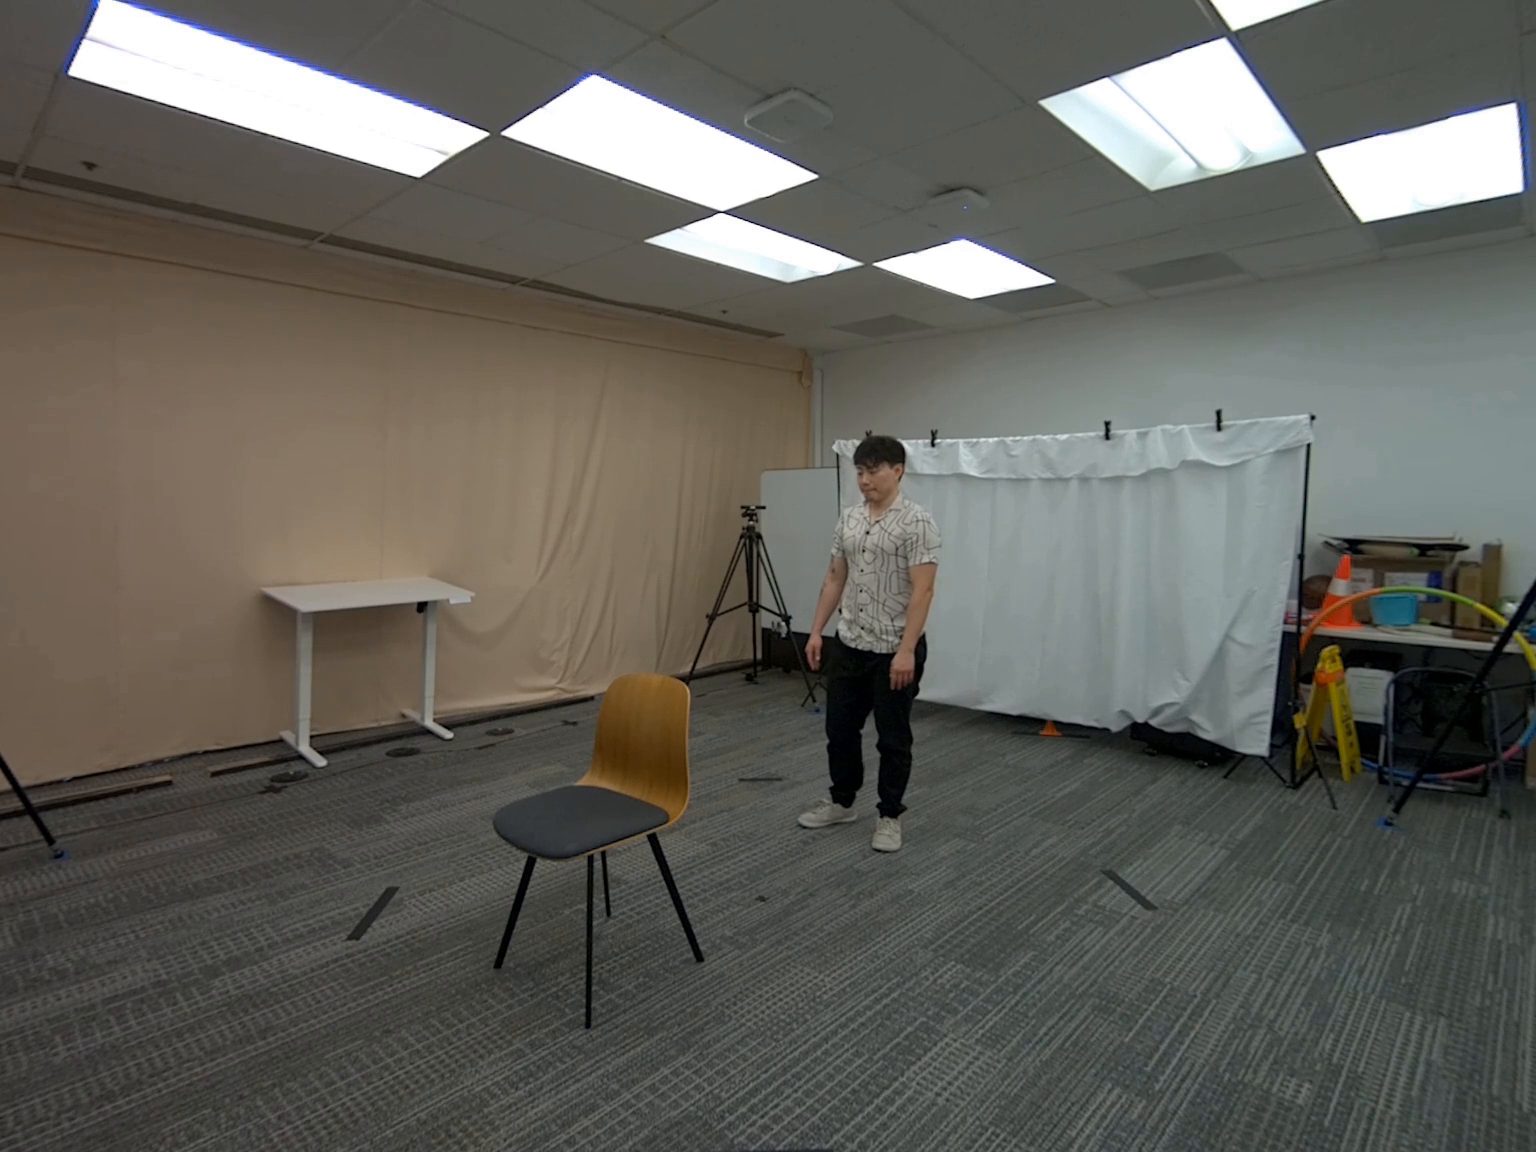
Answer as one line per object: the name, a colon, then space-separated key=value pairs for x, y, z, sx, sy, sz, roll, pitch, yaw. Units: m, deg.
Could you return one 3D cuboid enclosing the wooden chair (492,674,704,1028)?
wooden chair: x=-0.514 y=0.757 z=2.524 sx=0.494 sy=0.877 sz=0.506 roll=3 pitch=0 yaw=41
